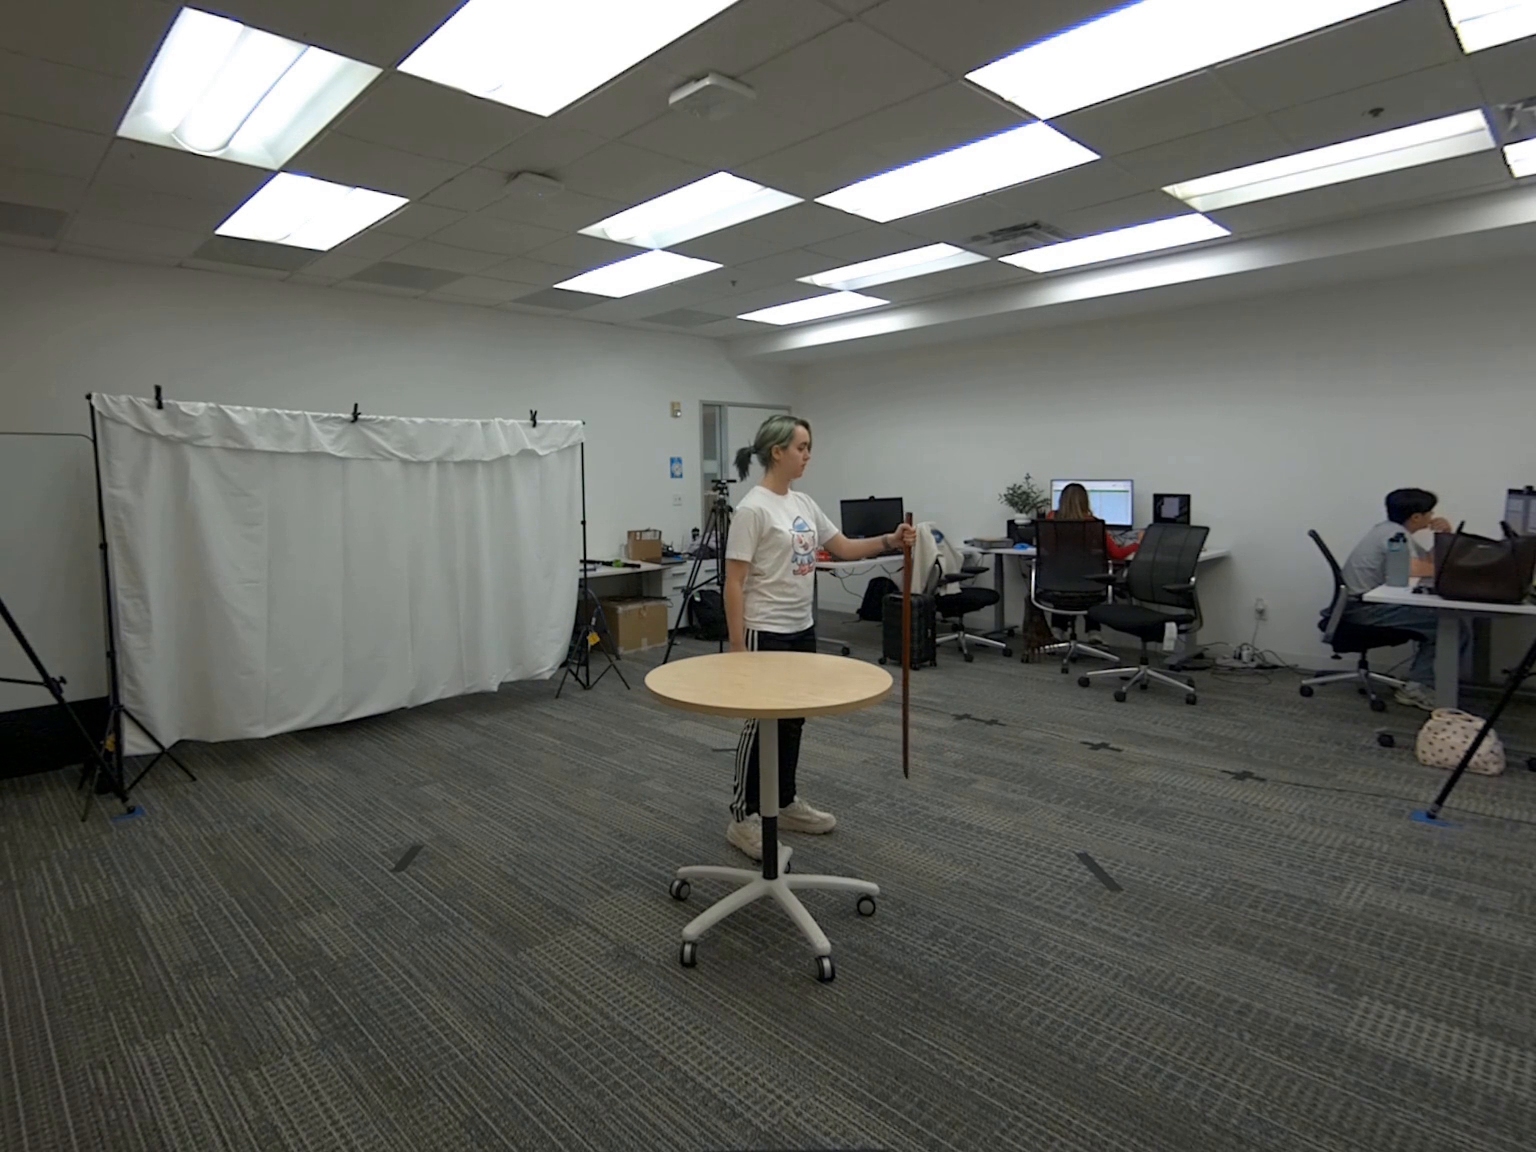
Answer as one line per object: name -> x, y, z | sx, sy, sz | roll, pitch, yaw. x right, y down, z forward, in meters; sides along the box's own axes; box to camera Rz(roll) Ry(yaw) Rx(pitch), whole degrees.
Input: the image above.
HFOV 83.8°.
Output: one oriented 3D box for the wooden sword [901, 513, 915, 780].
wooden sword -> 0.514, 0.284, 3.283 | 0.051, 1.020, 0.024 | 0, 5, -11
